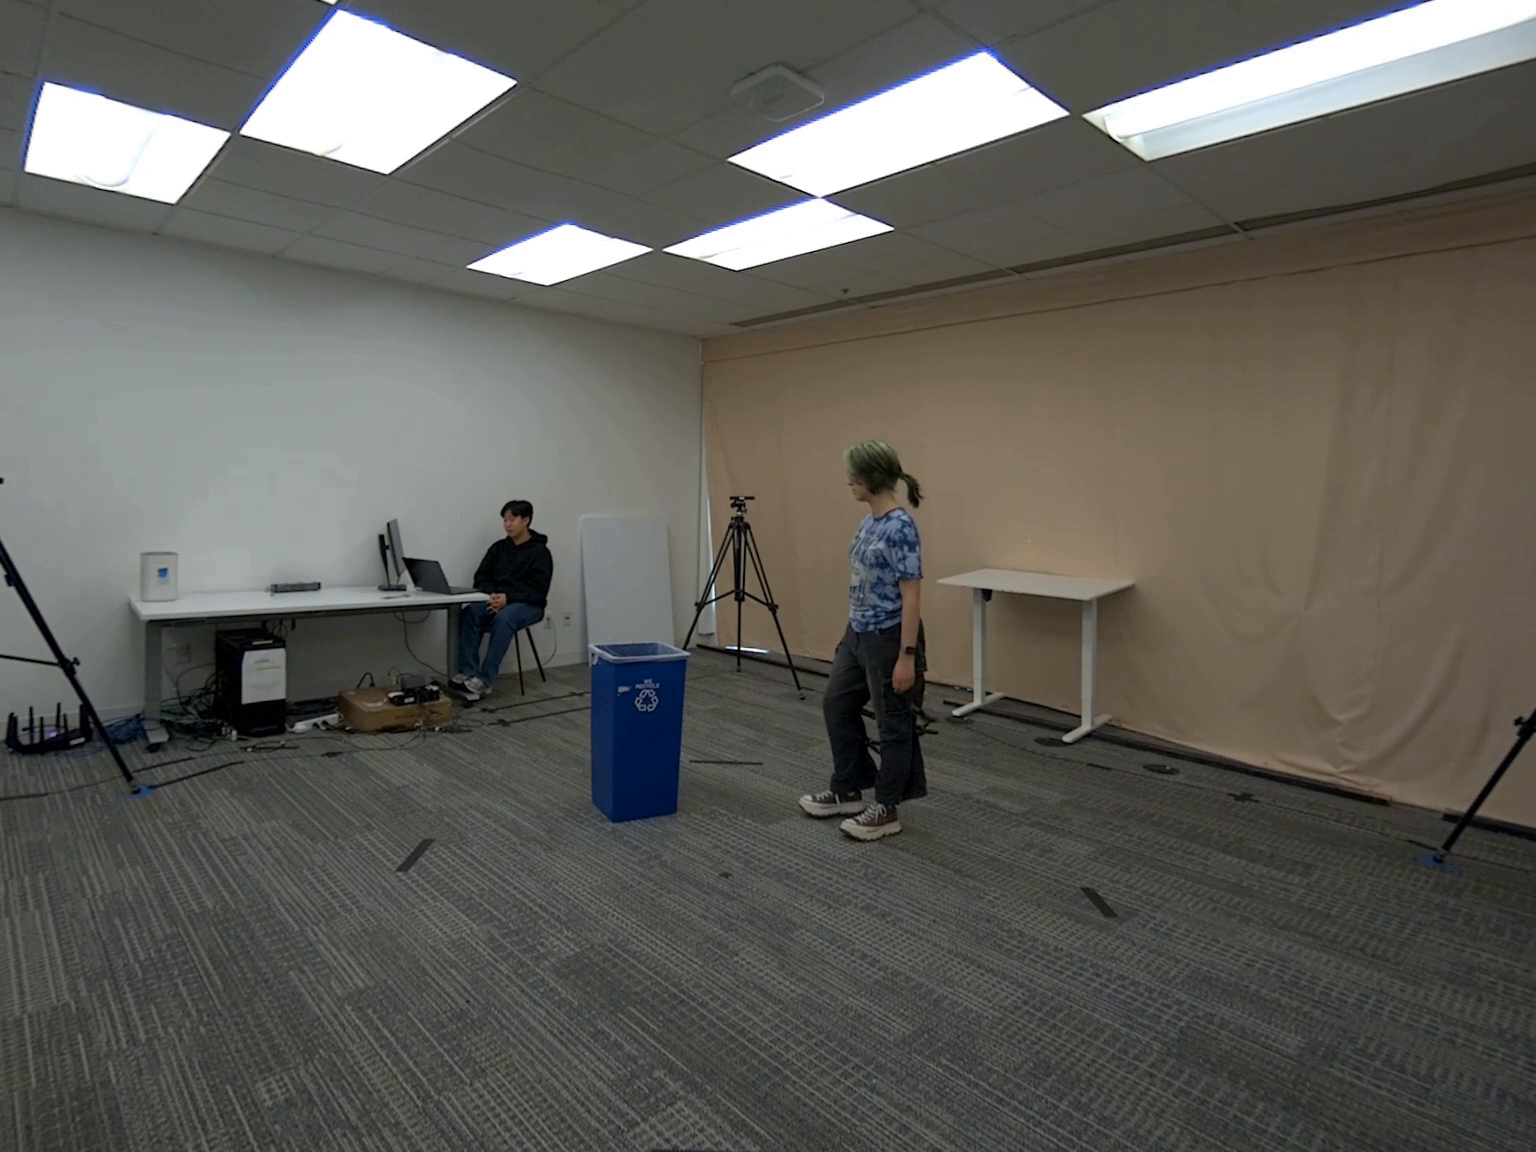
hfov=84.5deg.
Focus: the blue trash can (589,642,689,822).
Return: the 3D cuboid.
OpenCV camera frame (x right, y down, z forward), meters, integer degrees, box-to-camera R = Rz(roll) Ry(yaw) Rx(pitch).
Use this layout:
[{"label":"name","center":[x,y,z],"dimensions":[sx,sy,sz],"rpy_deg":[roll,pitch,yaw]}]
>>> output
[{"label":"blue trash can","center":[-0.591,0.675,3.762],"dimensions":[0.366,0.712,0.386],"rpy_deg":[0,4,-30]}]
